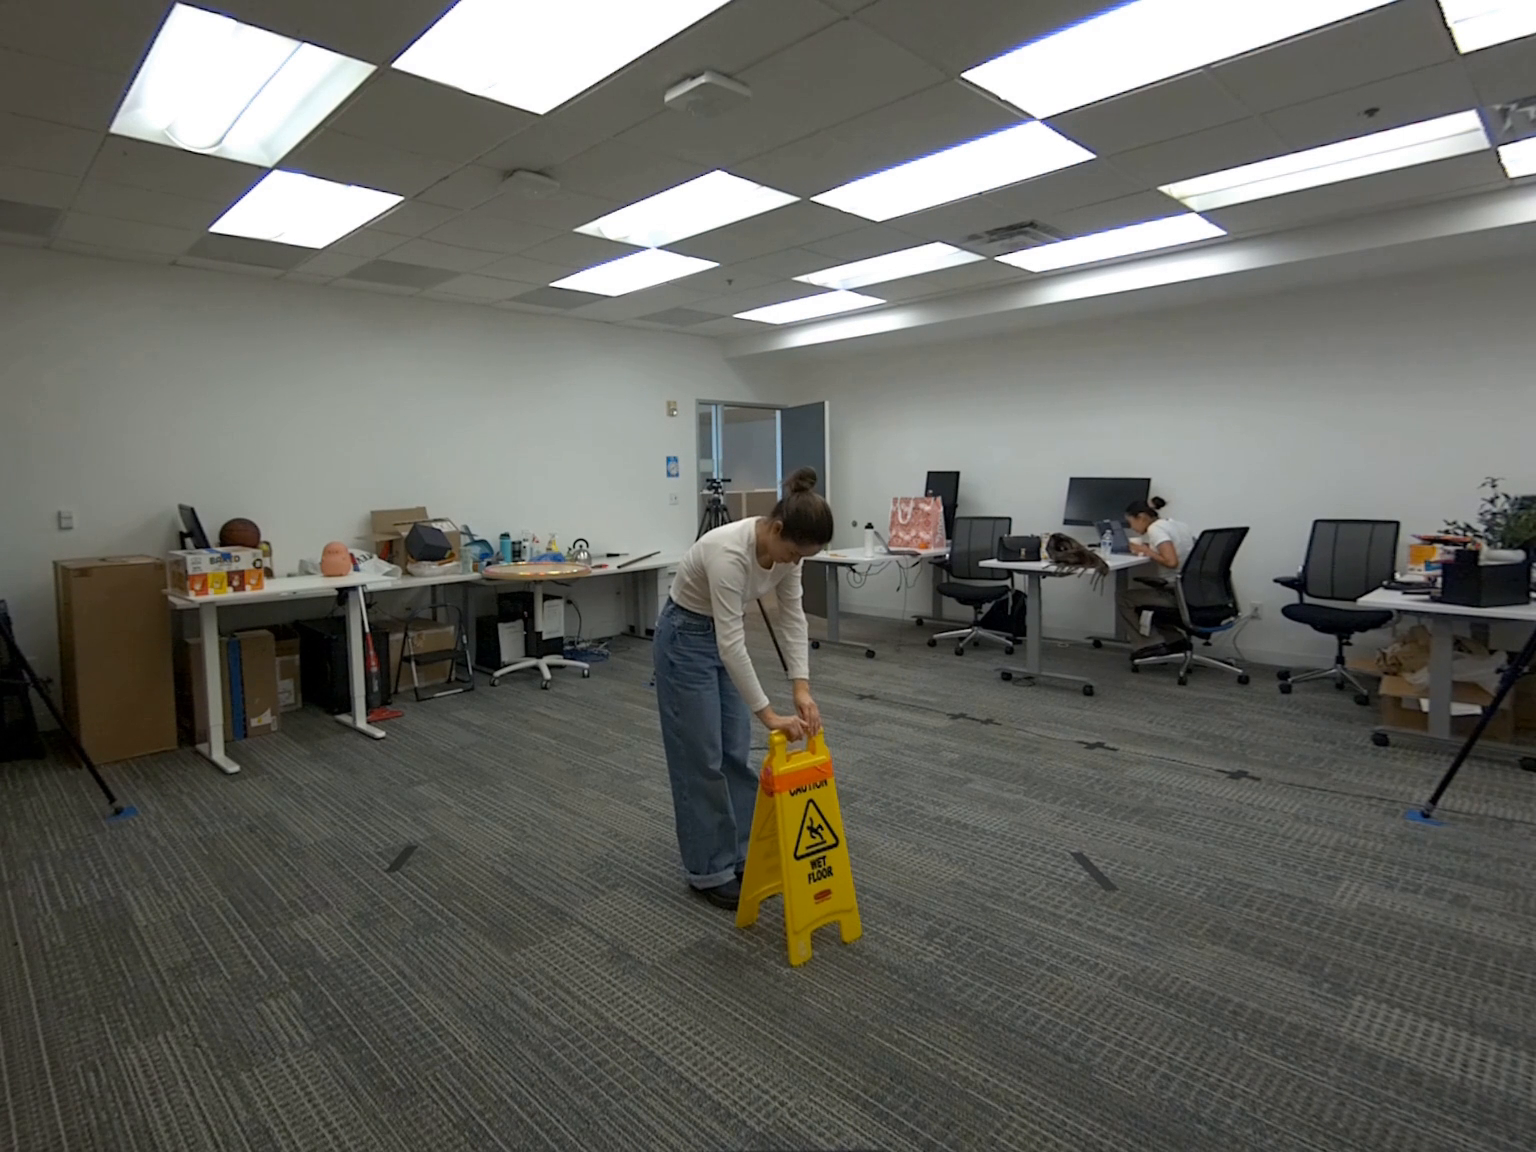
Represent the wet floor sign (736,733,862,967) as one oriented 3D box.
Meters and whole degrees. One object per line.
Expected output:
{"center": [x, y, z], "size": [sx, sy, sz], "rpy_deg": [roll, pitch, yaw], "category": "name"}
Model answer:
{"center": [0.095, 0.775, 2.607], "size": [0.275, 0.643, 0.299], "rpy_deg": [-5, 7, -38], "category": "wet floor sign"}
